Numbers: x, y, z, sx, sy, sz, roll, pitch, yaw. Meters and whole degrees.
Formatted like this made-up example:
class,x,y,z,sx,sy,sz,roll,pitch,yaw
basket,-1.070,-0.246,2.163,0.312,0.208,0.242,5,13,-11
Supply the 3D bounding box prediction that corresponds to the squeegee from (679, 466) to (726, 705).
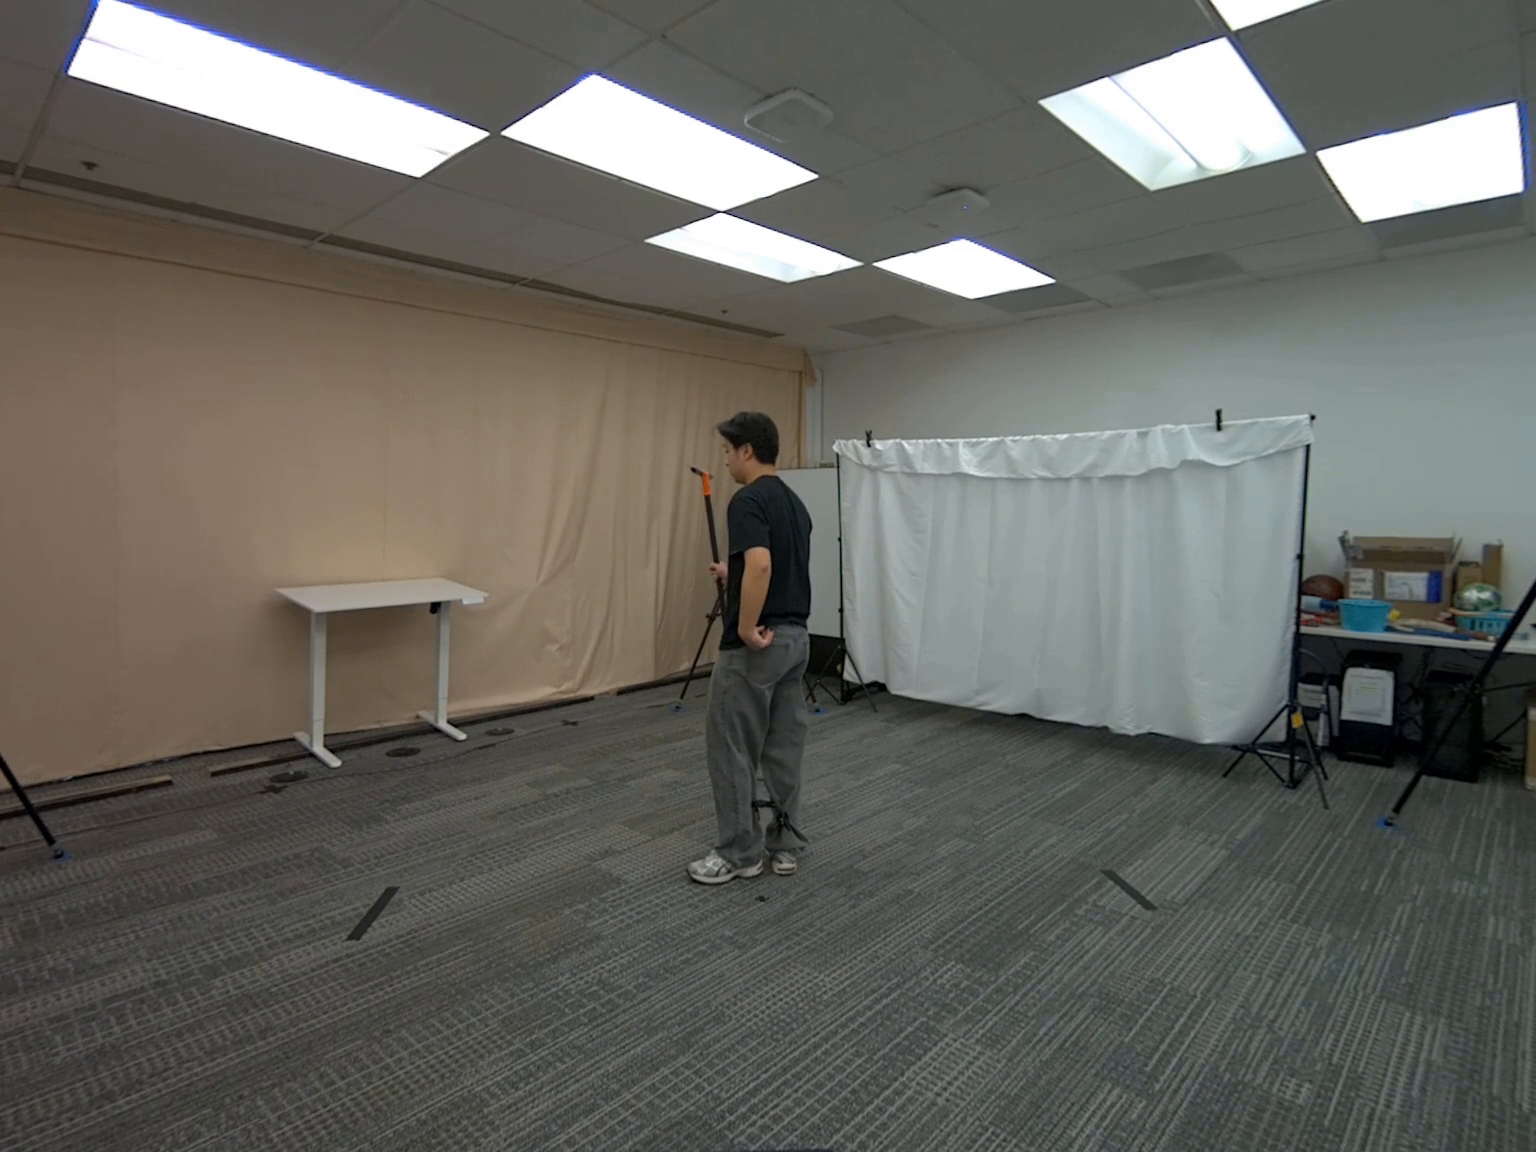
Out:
class,x,y,z,sx,sy,sz,roll,pitch,yaw
squeegee,-0.162,0.293,3.563,0.053,1.538,0.433,-10,0,9
